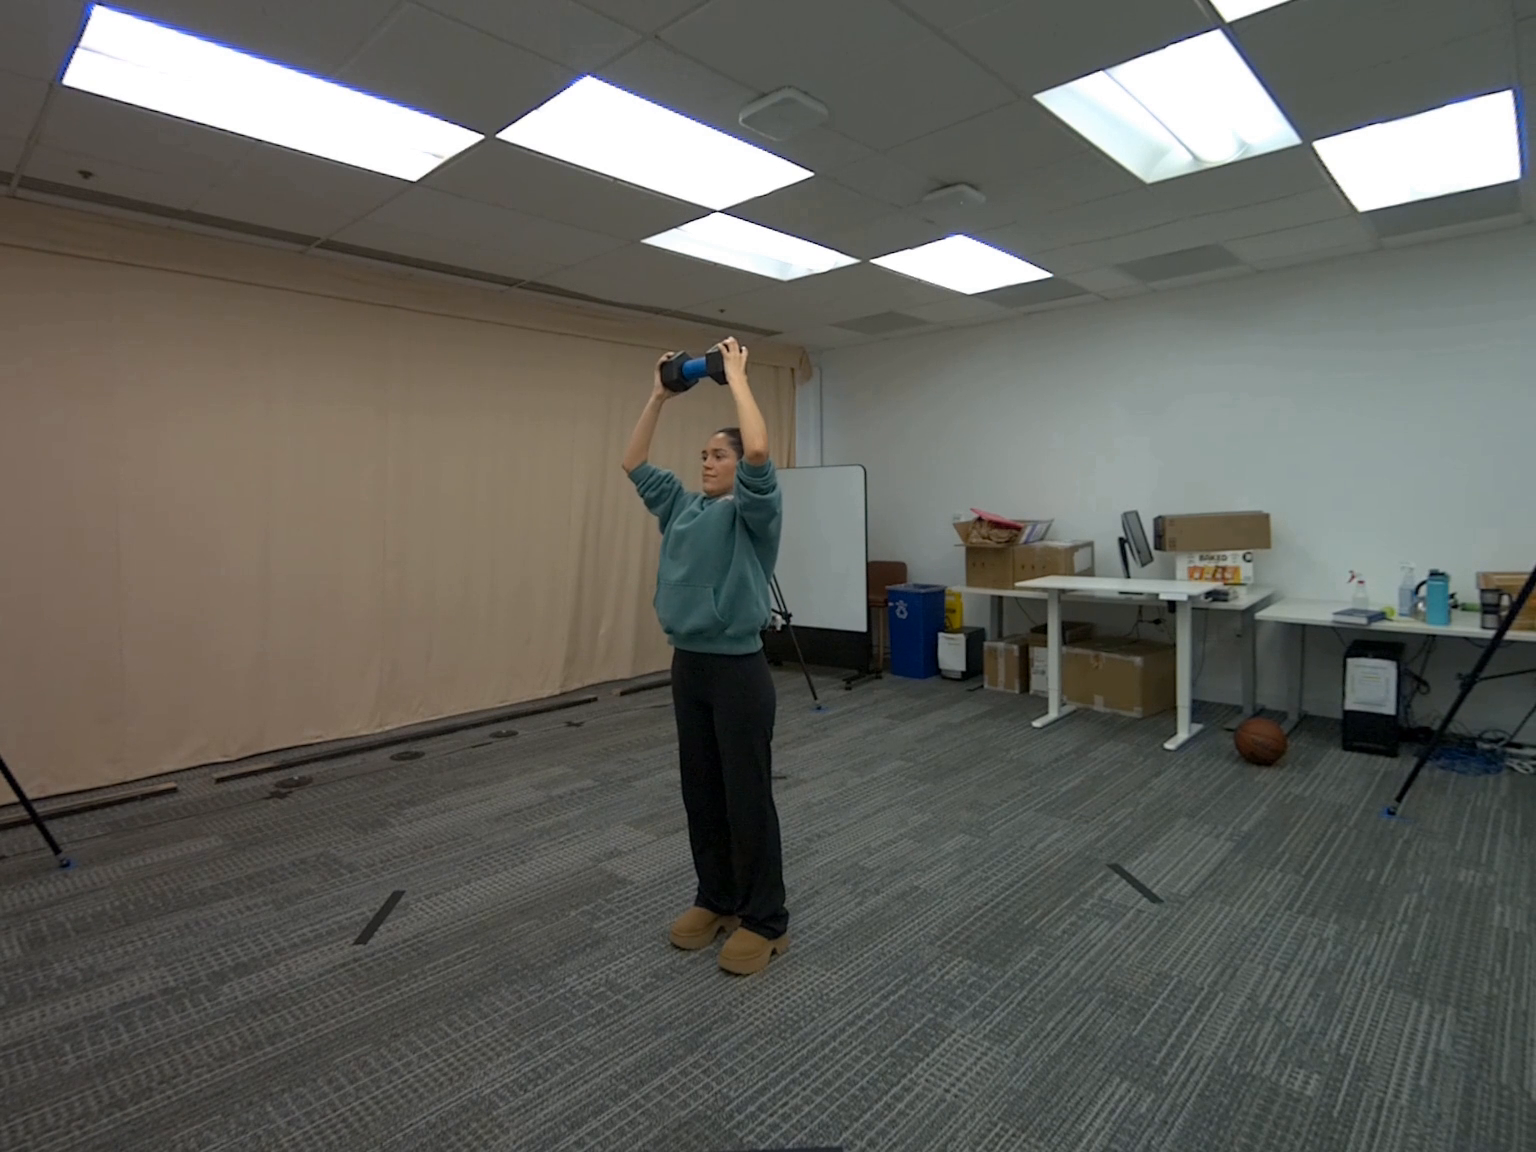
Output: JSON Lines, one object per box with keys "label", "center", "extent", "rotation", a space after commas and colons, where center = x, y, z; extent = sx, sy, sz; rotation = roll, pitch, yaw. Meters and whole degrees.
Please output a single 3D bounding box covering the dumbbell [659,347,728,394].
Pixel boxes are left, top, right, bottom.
{"label": "dumbbell", "center": [-0.189, -0.632, 2.542], "extent": [0.105, 0.122, 0.303], "rotation": [-7, 7, -44]}
